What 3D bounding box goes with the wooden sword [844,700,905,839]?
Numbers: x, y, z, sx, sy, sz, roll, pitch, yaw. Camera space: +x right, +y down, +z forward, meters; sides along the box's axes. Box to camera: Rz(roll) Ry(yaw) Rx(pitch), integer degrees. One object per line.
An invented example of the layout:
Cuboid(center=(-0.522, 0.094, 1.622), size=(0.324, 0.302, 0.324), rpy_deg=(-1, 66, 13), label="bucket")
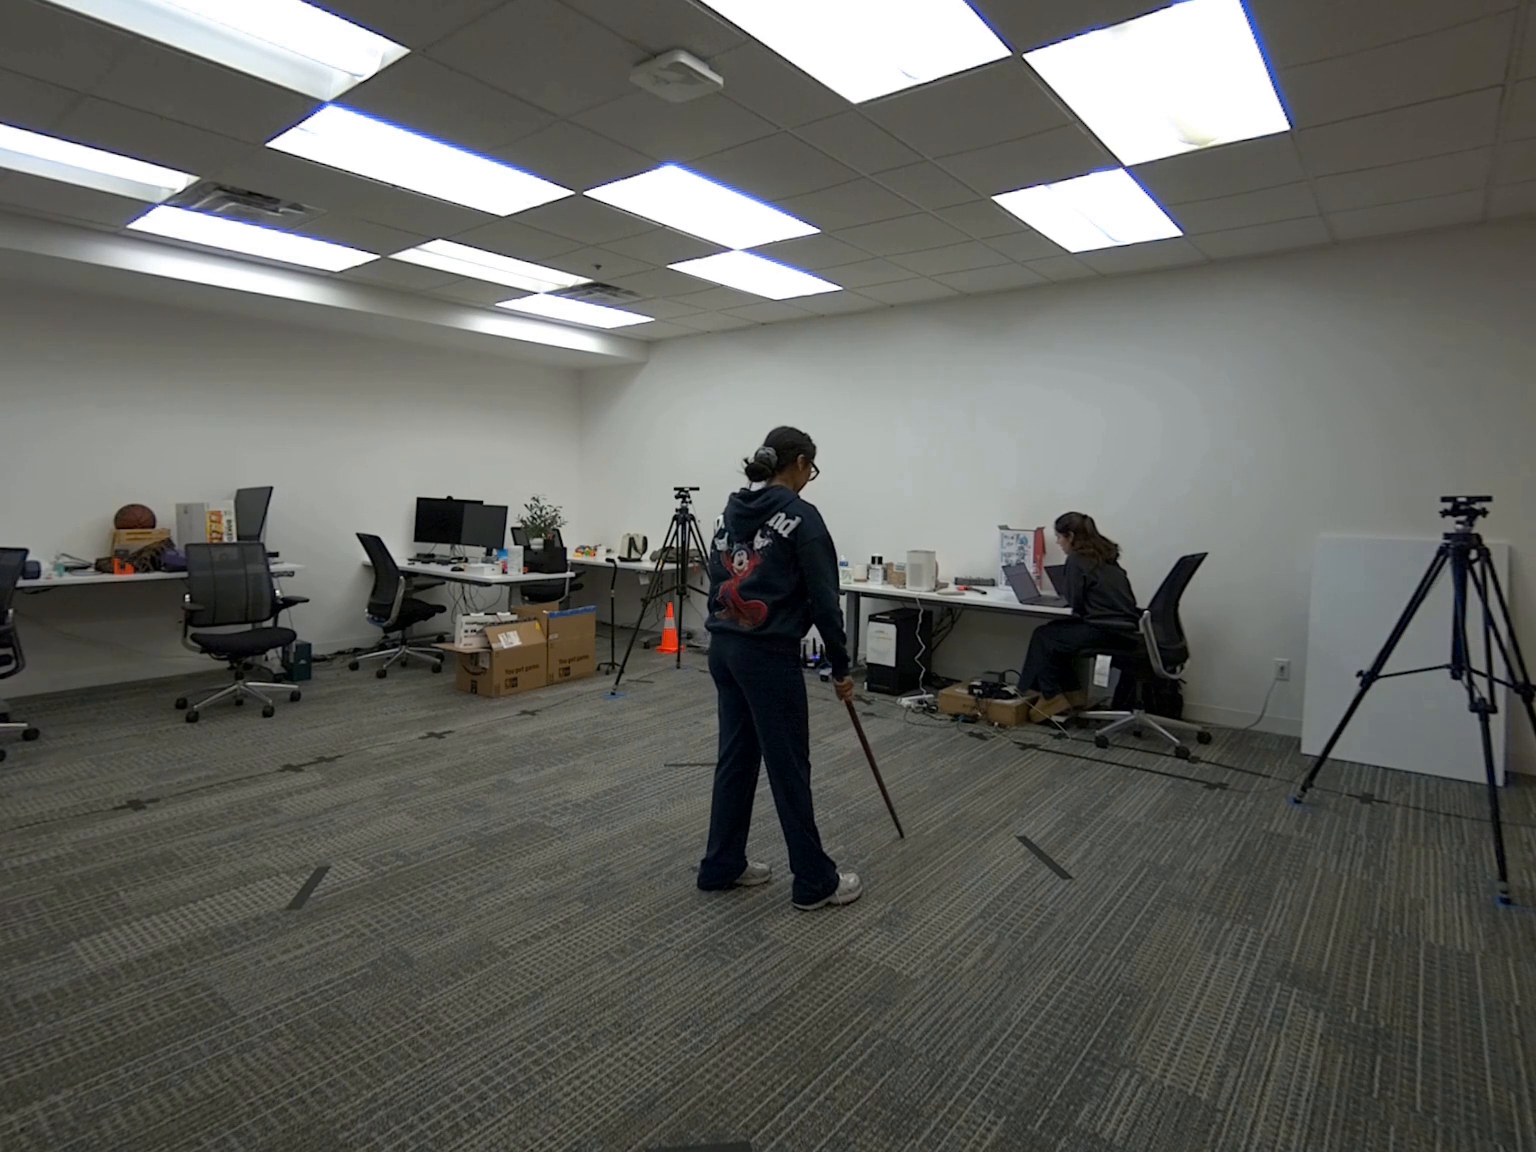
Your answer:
Cuboid(center=(0.374, 0.700, 3.124), size=(0.024, 0.985, 0.053), rpy_deg=(-26, 41, -2), label="wooden sword")
